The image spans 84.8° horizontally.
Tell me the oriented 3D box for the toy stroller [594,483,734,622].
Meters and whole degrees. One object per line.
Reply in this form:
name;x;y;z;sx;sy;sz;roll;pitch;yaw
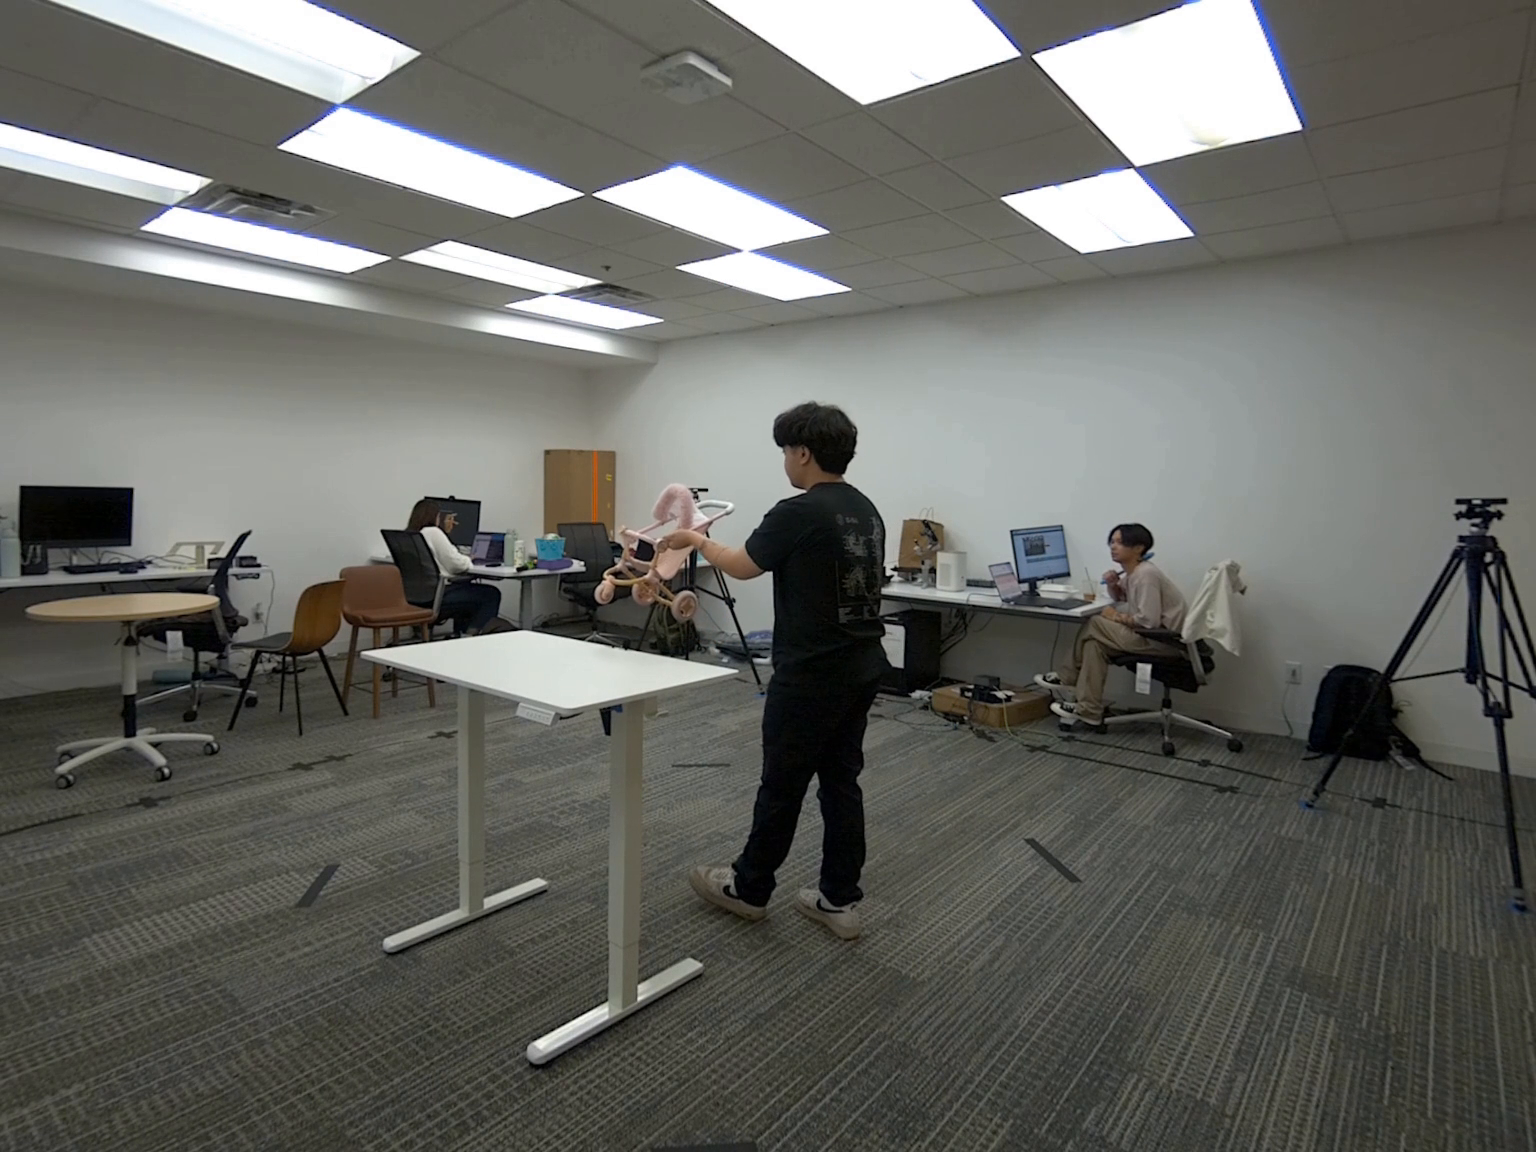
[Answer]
toy stroller;-0.396;-0.104;3.034;0.328;0.536;0.292;30;-9;-36
